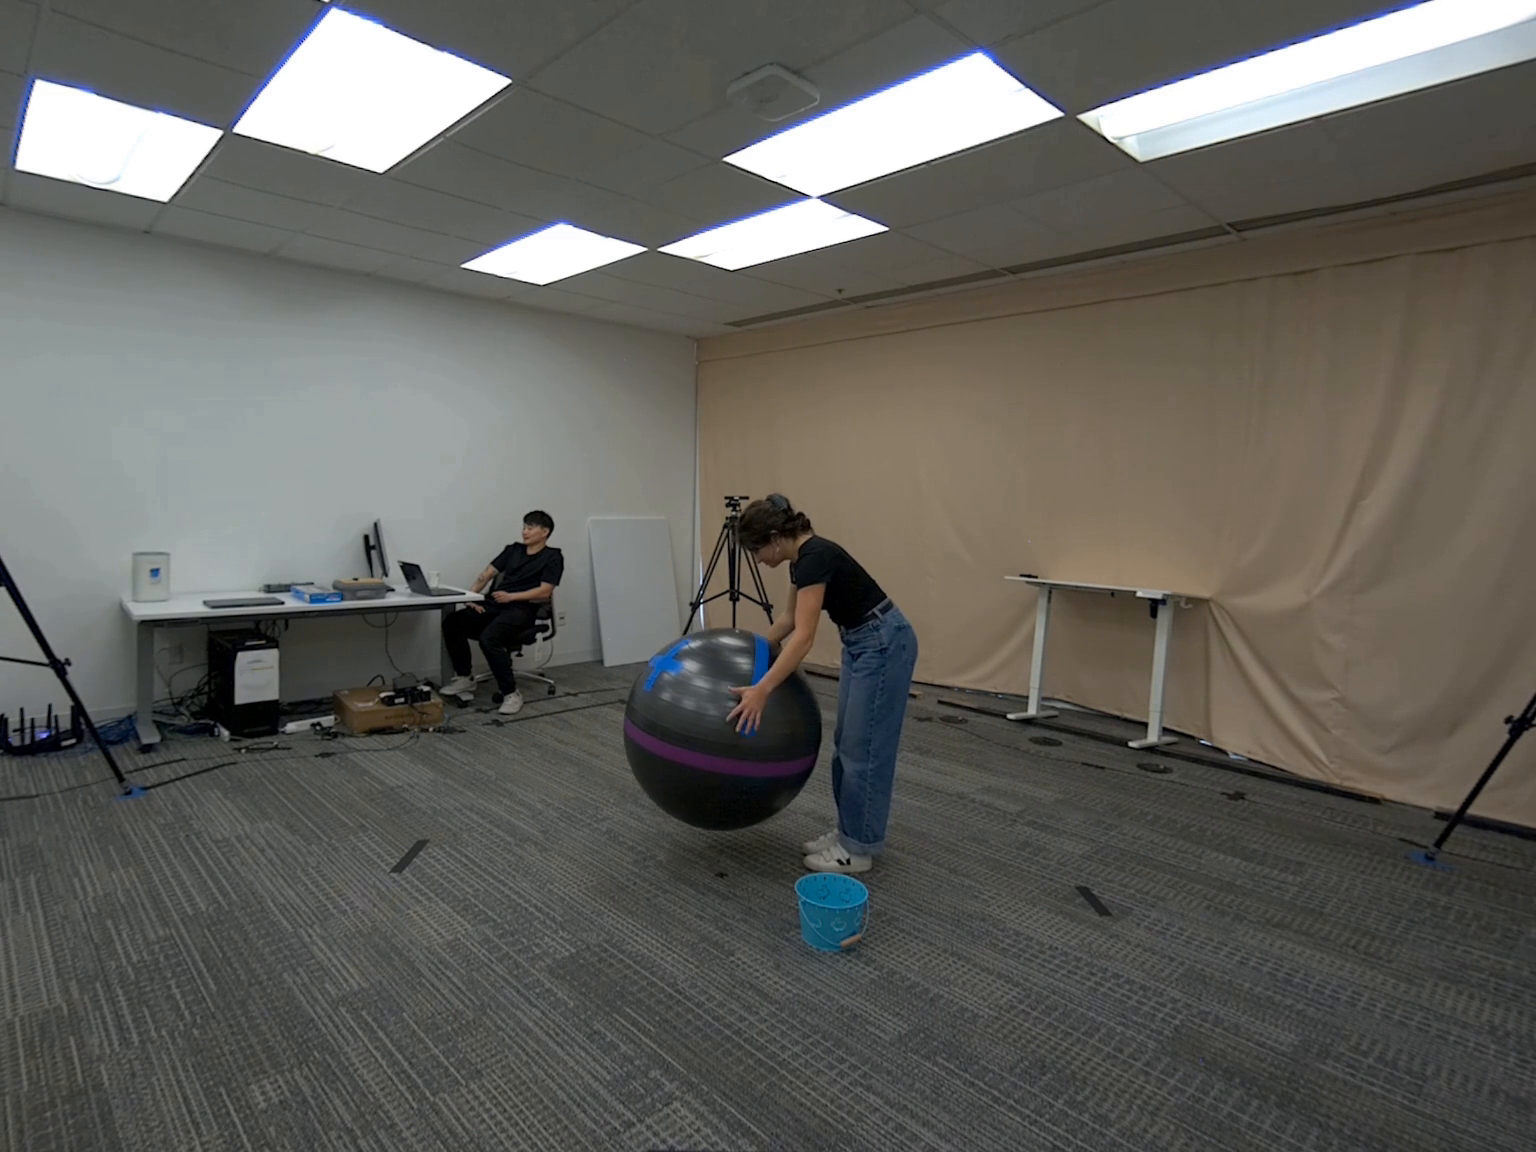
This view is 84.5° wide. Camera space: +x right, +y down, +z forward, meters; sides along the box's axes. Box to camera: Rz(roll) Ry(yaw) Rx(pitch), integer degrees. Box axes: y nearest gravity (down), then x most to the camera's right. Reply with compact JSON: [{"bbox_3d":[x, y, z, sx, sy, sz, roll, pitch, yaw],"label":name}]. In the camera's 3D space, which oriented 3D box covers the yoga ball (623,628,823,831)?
[{"bbox_3d":[-0.186,0.601,3.248,0.757,0.756,0.761,1,4,-1],"label":"yoga ball"}]
